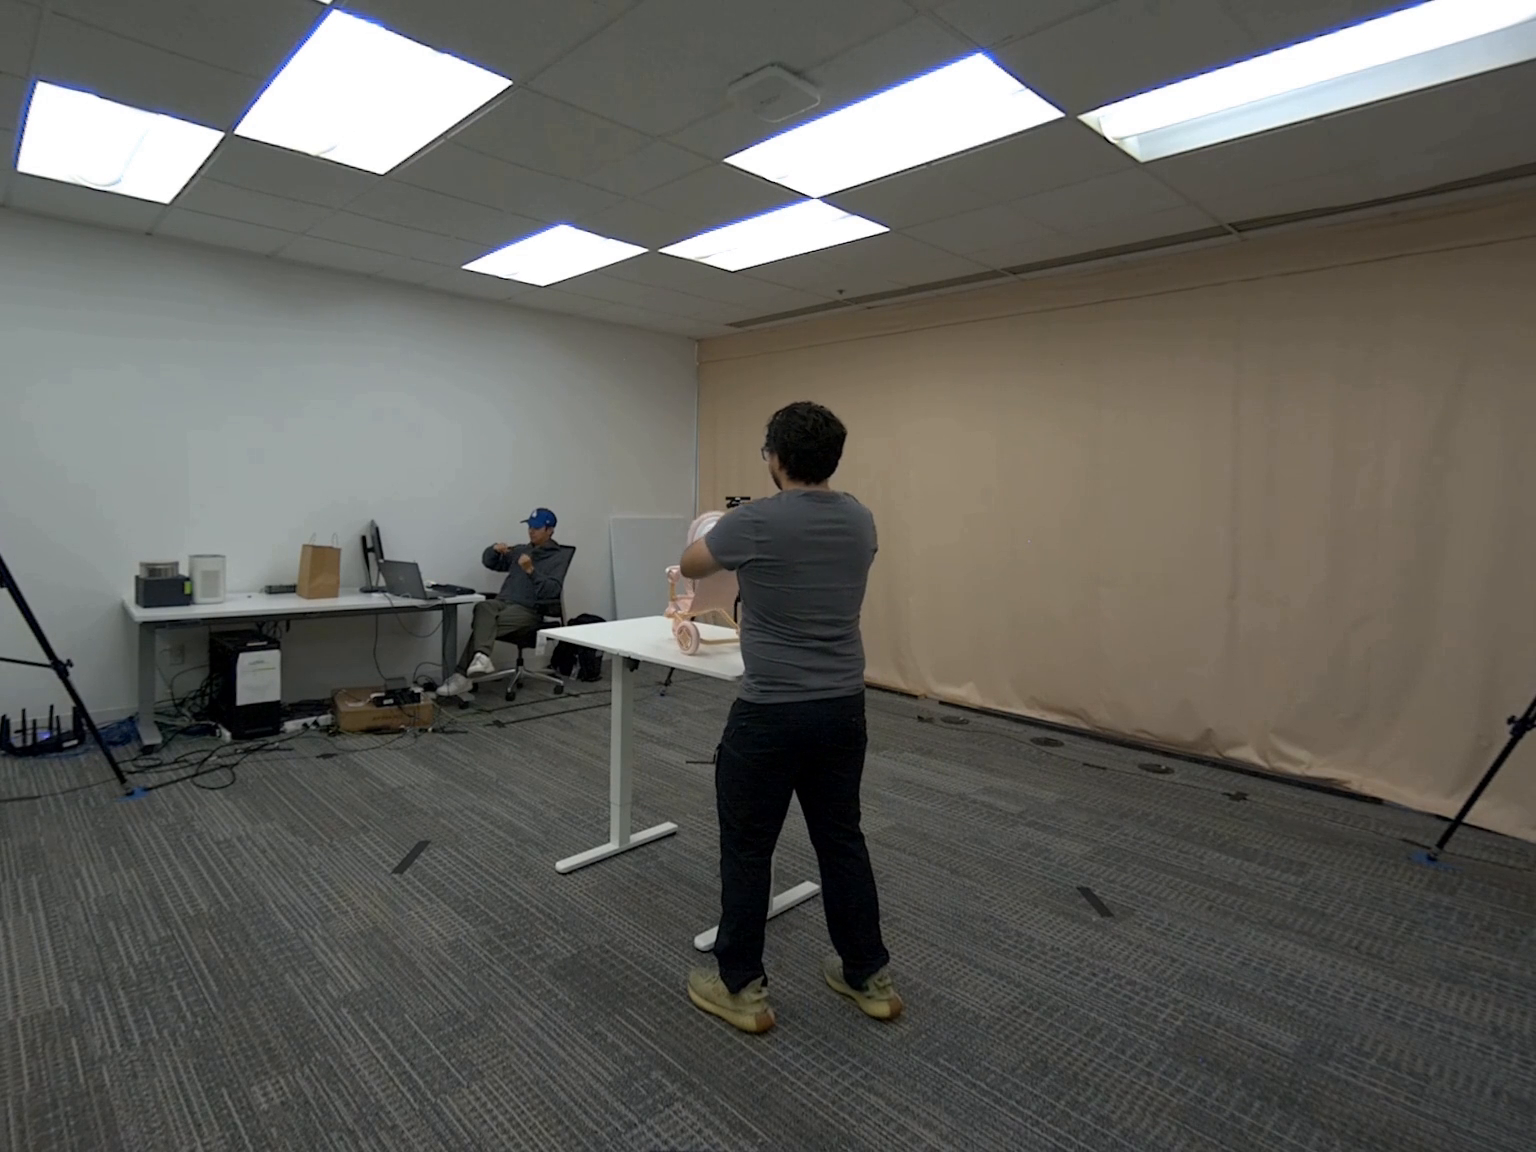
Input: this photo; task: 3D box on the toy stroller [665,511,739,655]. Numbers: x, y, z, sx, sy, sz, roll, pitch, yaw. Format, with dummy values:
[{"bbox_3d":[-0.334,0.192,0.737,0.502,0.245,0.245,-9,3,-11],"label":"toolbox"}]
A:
[{"bbox_3d":[-0.200,0.022,2.840,0.275,0.530,0.352,-1,20,-34],"label":"toy stroller"}]
